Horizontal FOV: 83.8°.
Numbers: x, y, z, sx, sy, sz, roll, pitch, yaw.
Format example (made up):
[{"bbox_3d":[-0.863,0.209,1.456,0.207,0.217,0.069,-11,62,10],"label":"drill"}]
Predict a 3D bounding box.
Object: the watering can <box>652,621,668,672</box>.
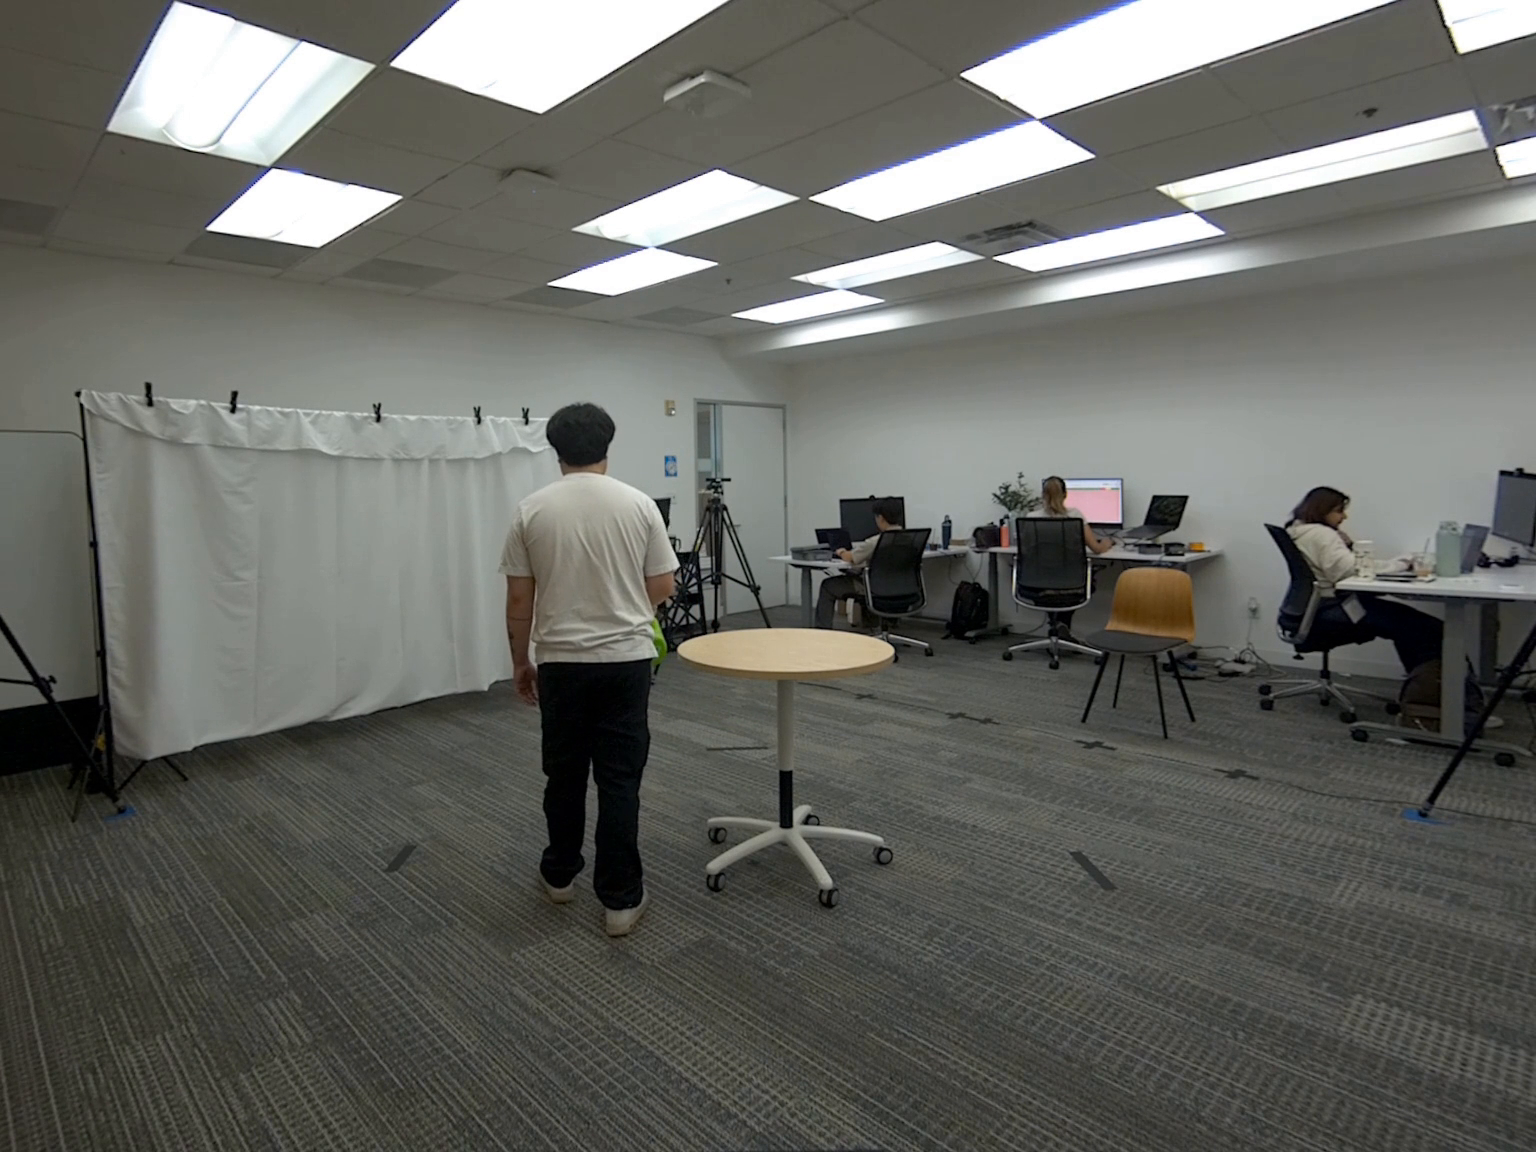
[{"bbox_3d":[-0.423,0.250,3.036,0.097,0.271,0.183,-9,39,-15],"label":"watering can"}]
